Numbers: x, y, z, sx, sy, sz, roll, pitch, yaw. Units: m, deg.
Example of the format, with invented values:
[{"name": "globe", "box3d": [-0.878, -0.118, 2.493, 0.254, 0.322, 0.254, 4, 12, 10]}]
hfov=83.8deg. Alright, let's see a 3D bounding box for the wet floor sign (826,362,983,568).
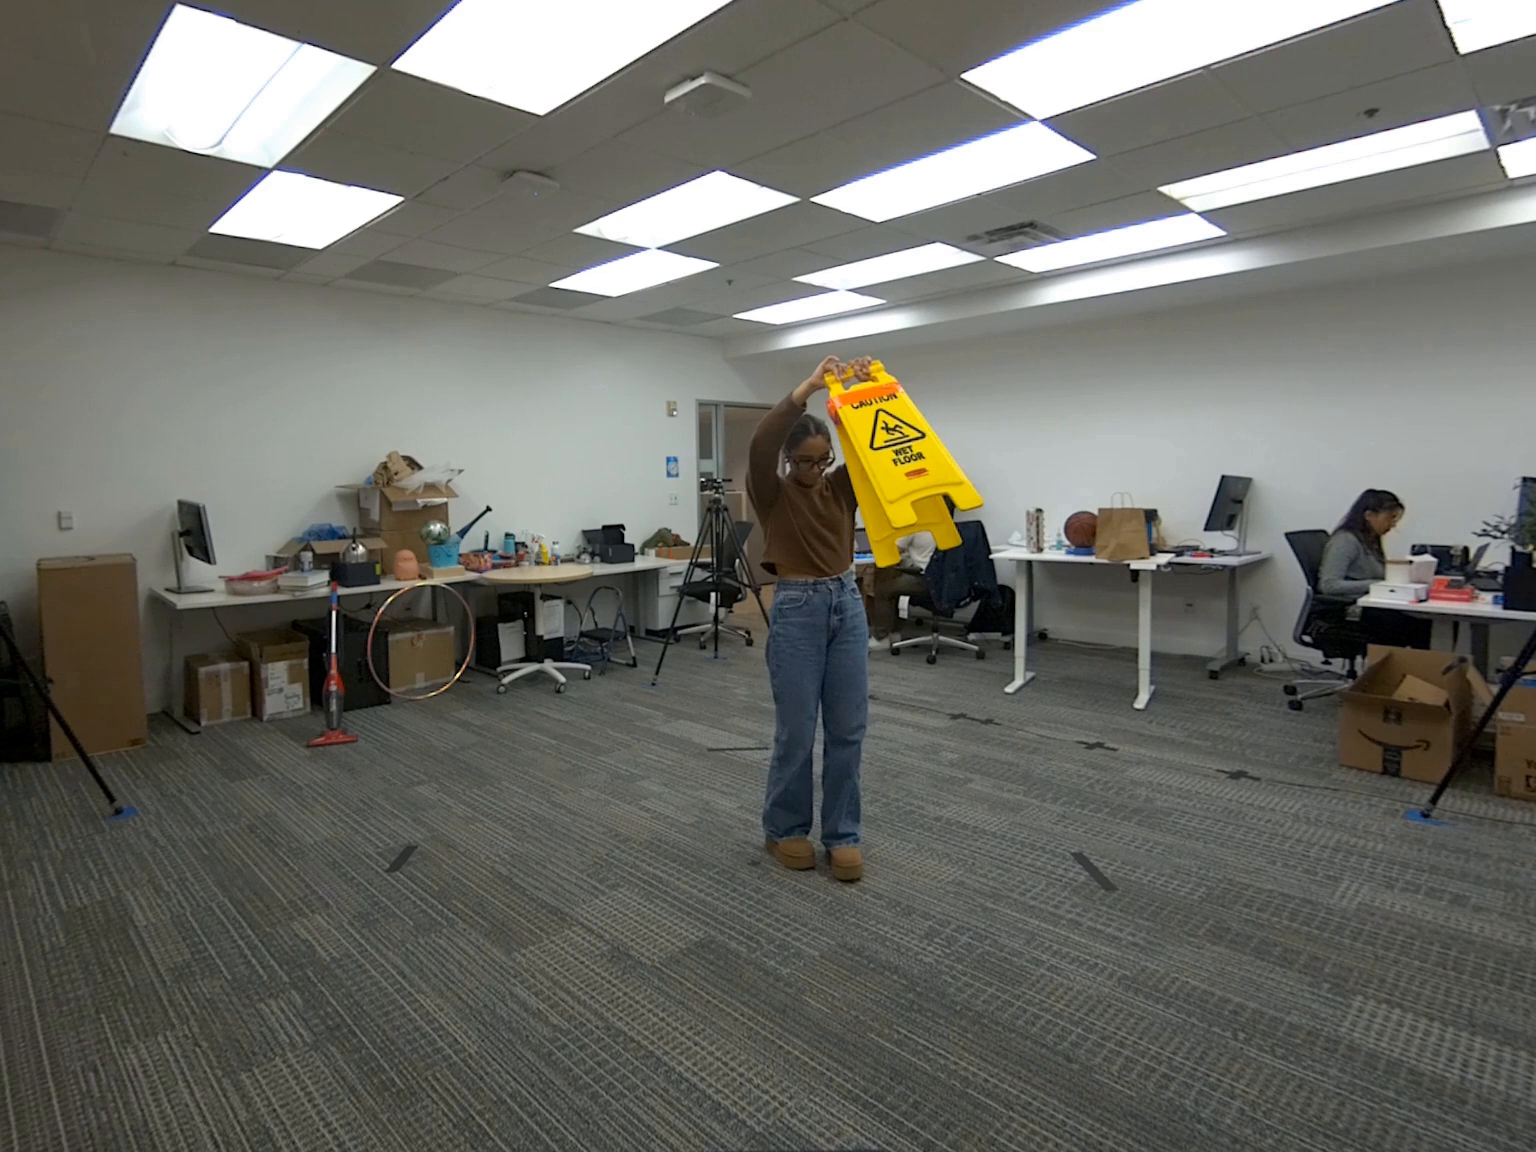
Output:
[{"name": "wet floor sign", "box3d": [0.371, -0.394, 2.644, 0.281, 0.663, 0.284, -15, -24, -8]}]
